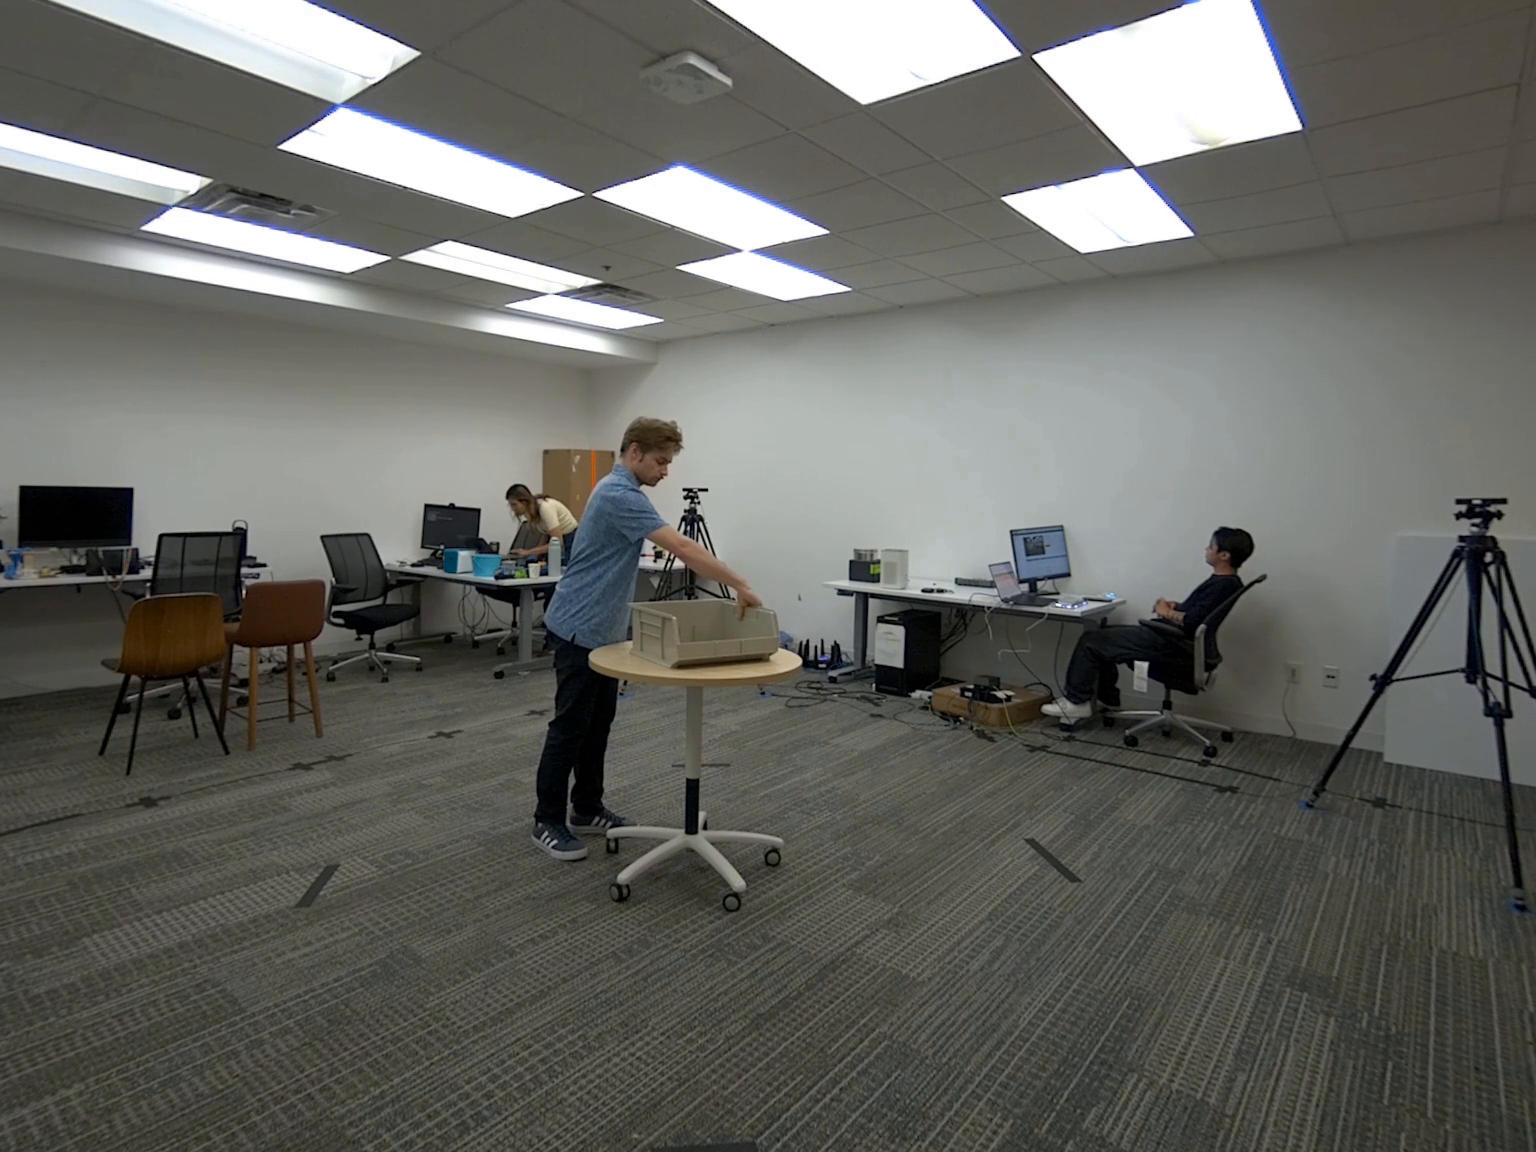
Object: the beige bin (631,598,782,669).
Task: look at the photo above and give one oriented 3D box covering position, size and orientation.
[{"bbox_3d":[-0.248,0.193,3.058,0.411,0.188,0.389,-2,4,-32],"label":"beige bin"}]
